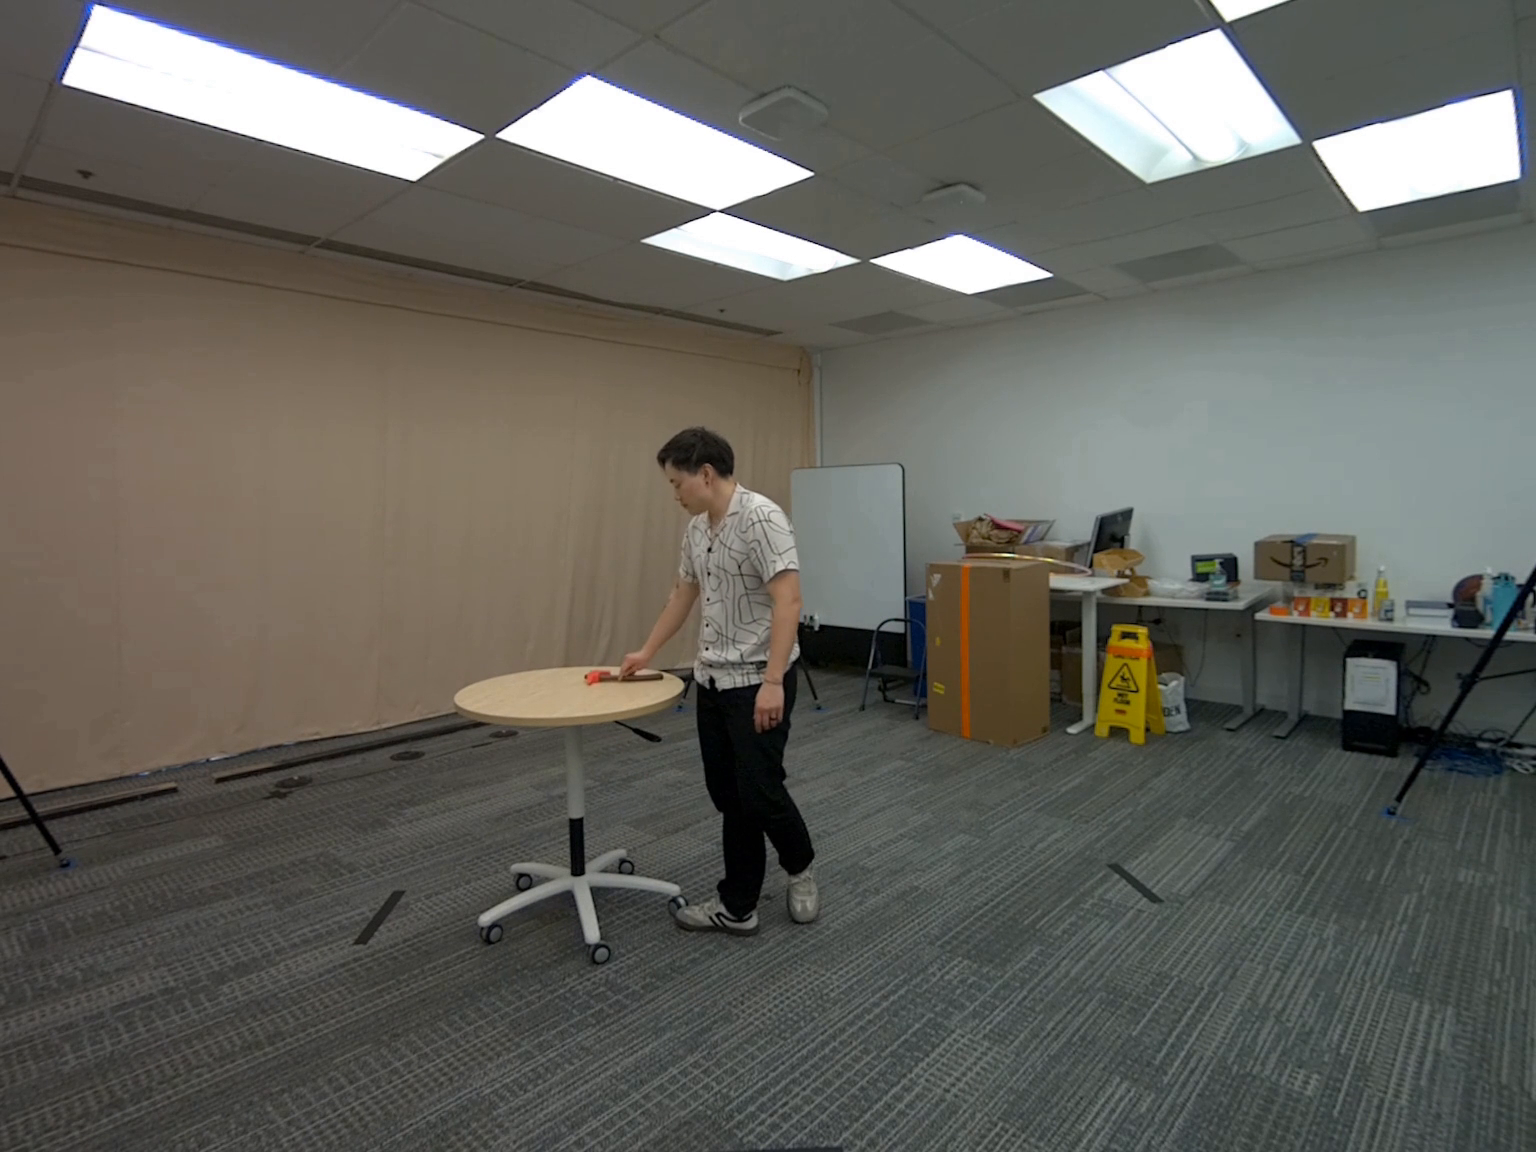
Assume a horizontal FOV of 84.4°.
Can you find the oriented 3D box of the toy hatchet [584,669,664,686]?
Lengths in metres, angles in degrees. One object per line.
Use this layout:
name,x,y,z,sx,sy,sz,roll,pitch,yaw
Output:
toy hatchet,-0.523,0.355,2.977,0.266,0.029,0.133,-2,10,-13
